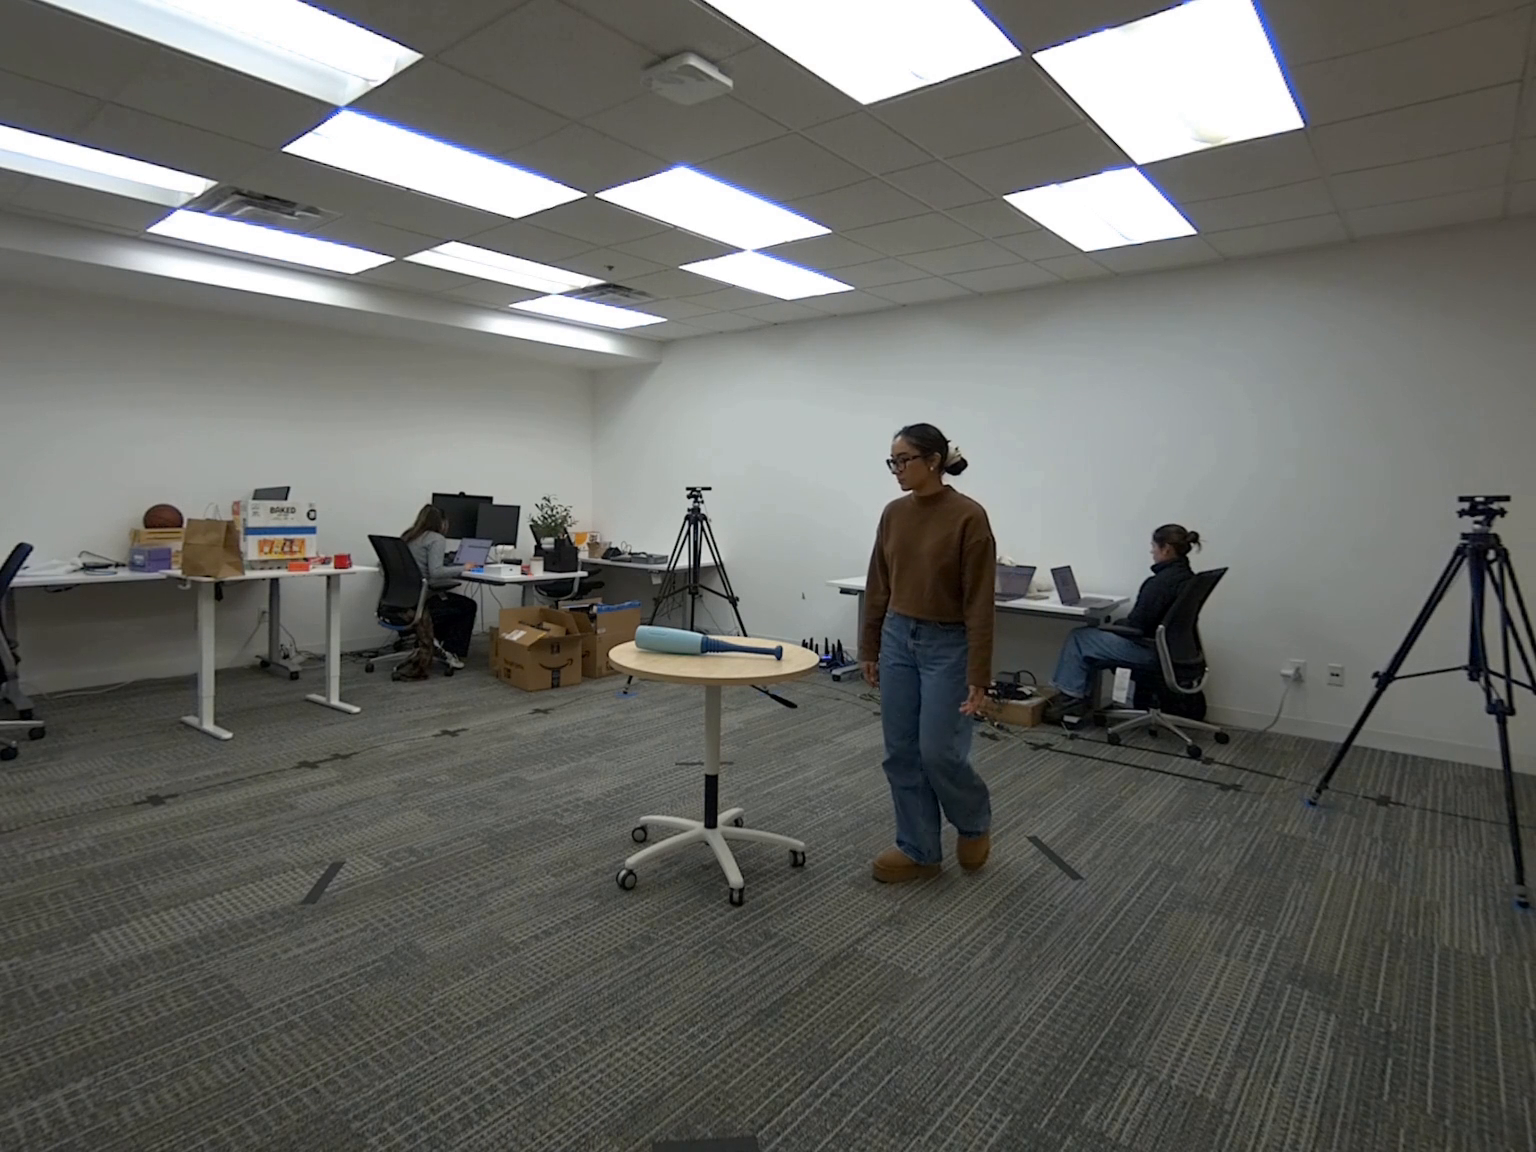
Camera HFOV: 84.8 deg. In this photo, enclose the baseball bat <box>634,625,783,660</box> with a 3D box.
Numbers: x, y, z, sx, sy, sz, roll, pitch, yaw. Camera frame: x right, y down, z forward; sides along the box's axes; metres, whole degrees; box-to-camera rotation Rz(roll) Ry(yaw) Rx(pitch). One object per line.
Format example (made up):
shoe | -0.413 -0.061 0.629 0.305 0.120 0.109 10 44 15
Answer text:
baseball bat | -0.226 0.249 3.085 0.549 0.089 0.088 6 5 10
